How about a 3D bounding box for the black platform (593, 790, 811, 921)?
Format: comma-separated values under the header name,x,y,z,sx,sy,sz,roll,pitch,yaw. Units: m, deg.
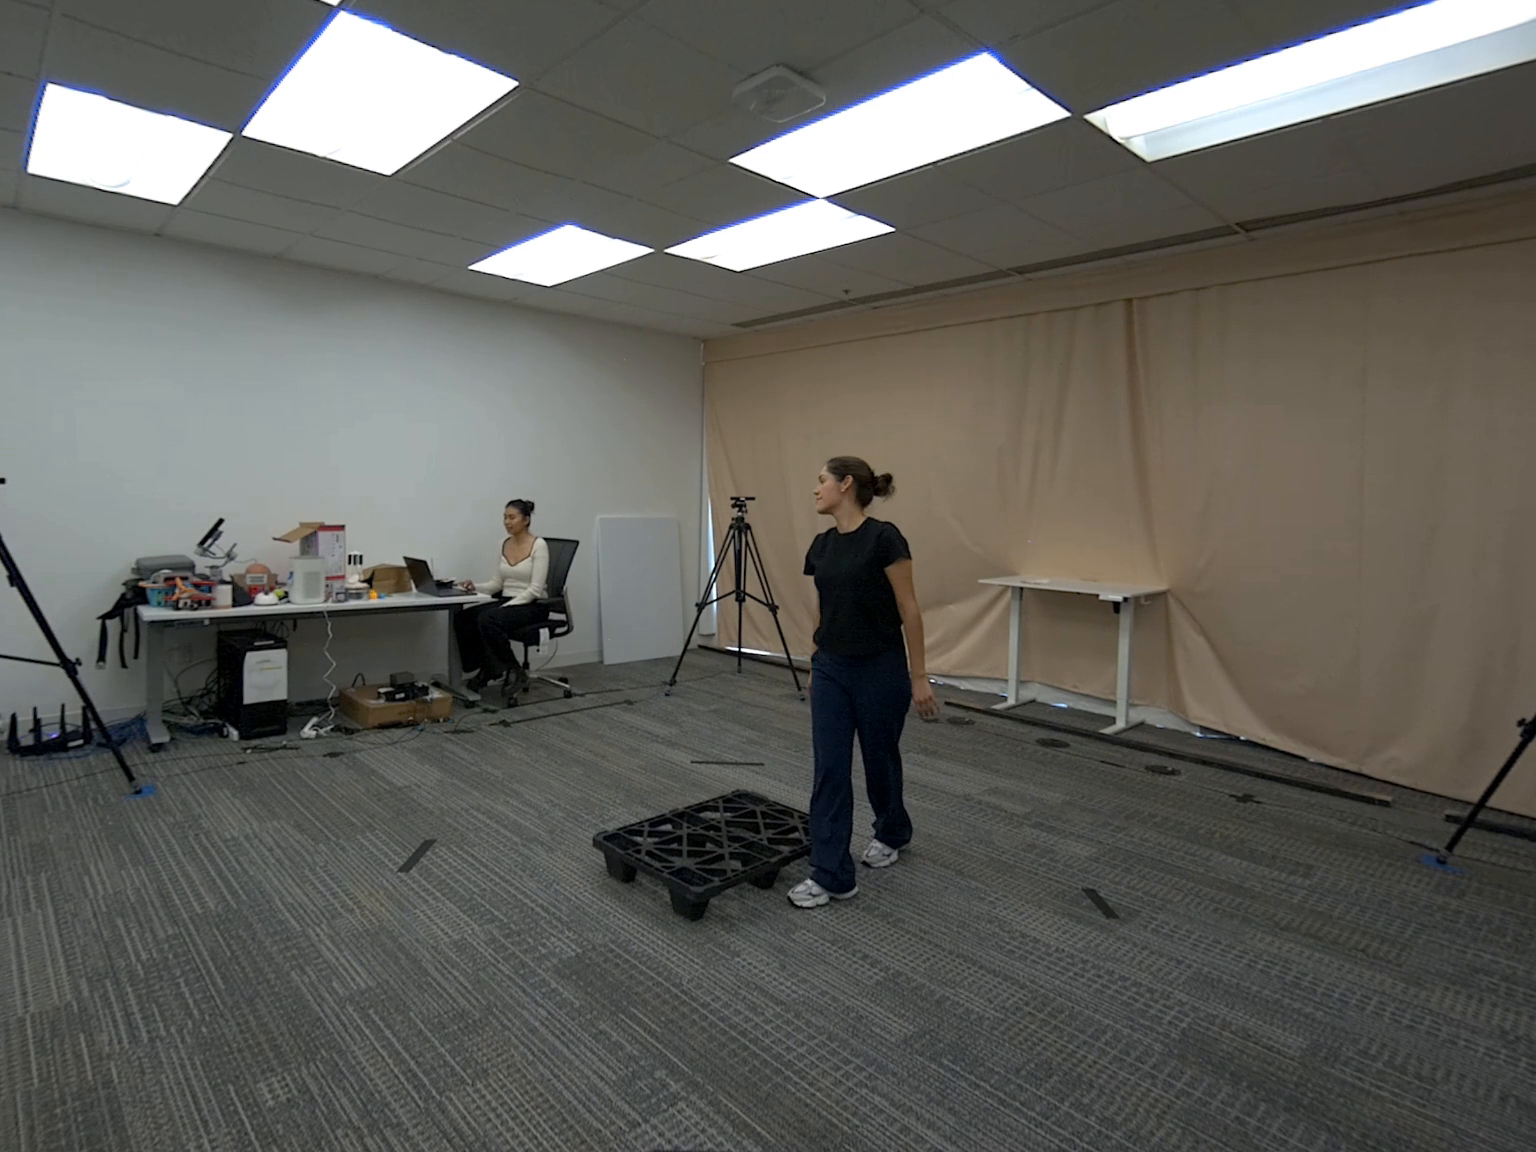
name,x,y,z,sx,sy,sz,roll,pitch,yaw
black platform,-0.167,1.035,3.164,0.621,0.143,0.787,7,8,44
